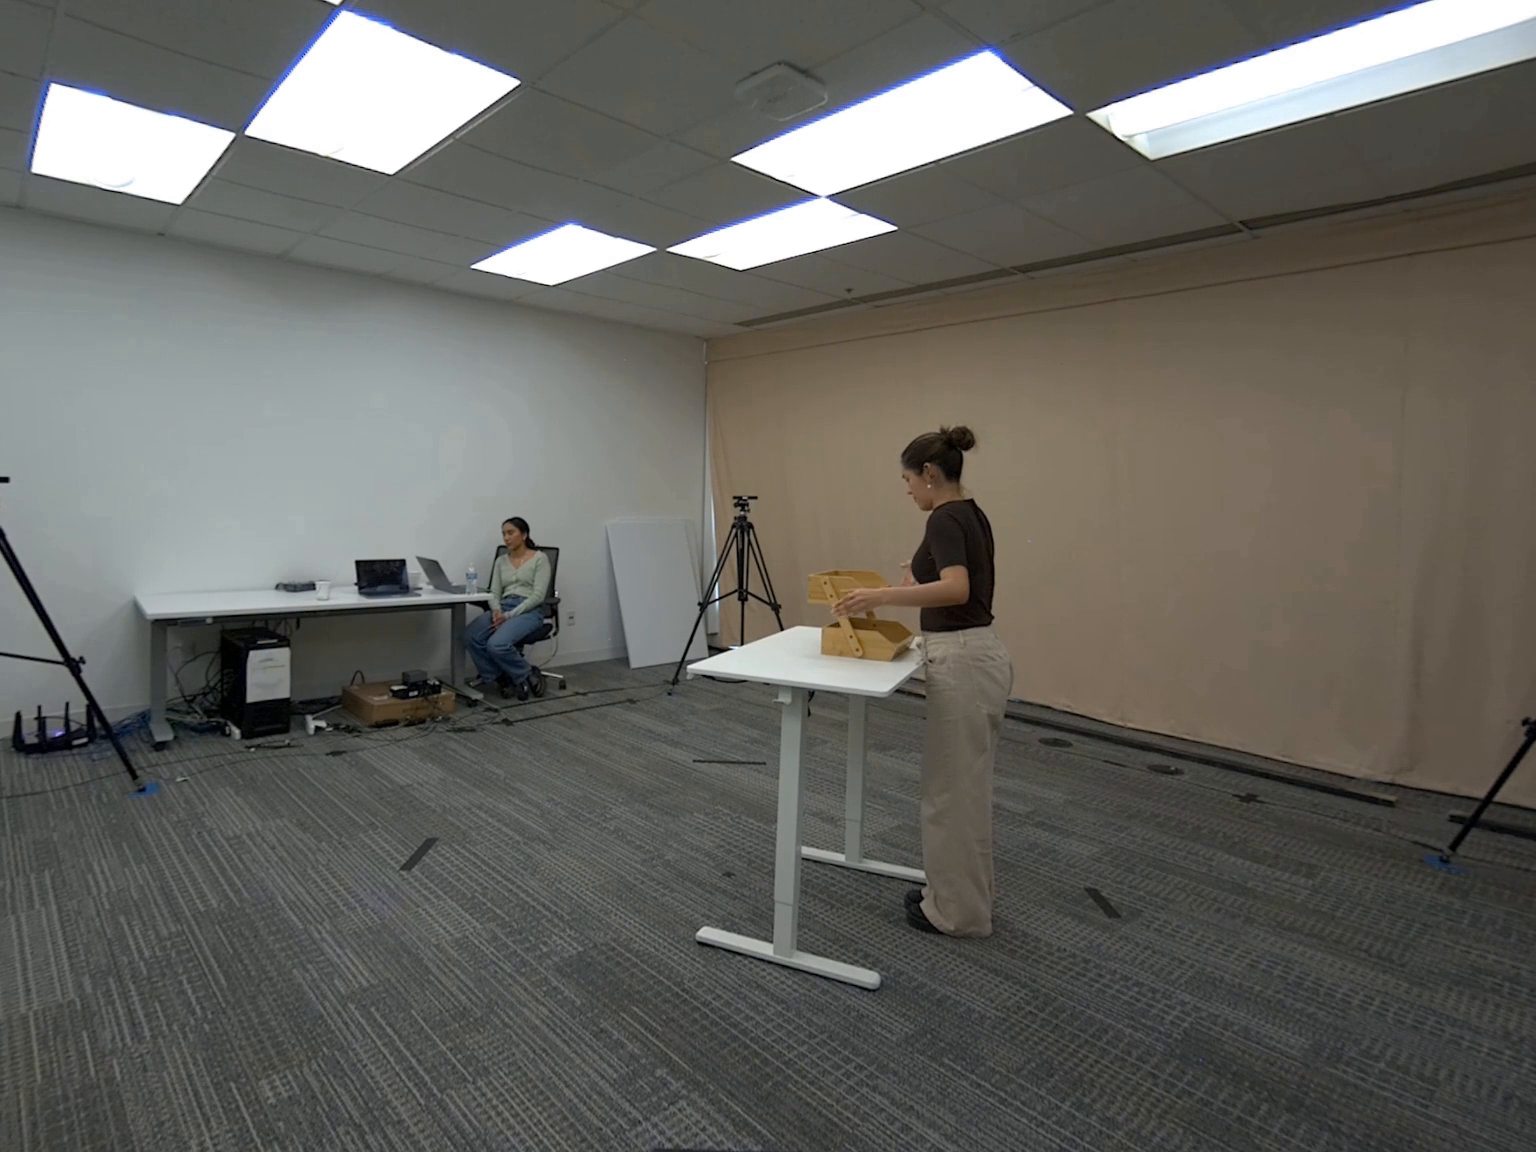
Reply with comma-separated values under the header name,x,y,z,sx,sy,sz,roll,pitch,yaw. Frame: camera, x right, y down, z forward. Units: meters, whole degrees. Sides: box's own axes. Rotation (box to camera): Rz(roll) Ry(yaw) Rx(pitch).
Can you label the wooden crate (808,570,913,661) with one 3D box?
name,x,y,z,sx,sy,sz,roll,pitch,yaw
wooden crate,0.320,0.124,2.859,0.307,0.272,0.320,3,4,22
